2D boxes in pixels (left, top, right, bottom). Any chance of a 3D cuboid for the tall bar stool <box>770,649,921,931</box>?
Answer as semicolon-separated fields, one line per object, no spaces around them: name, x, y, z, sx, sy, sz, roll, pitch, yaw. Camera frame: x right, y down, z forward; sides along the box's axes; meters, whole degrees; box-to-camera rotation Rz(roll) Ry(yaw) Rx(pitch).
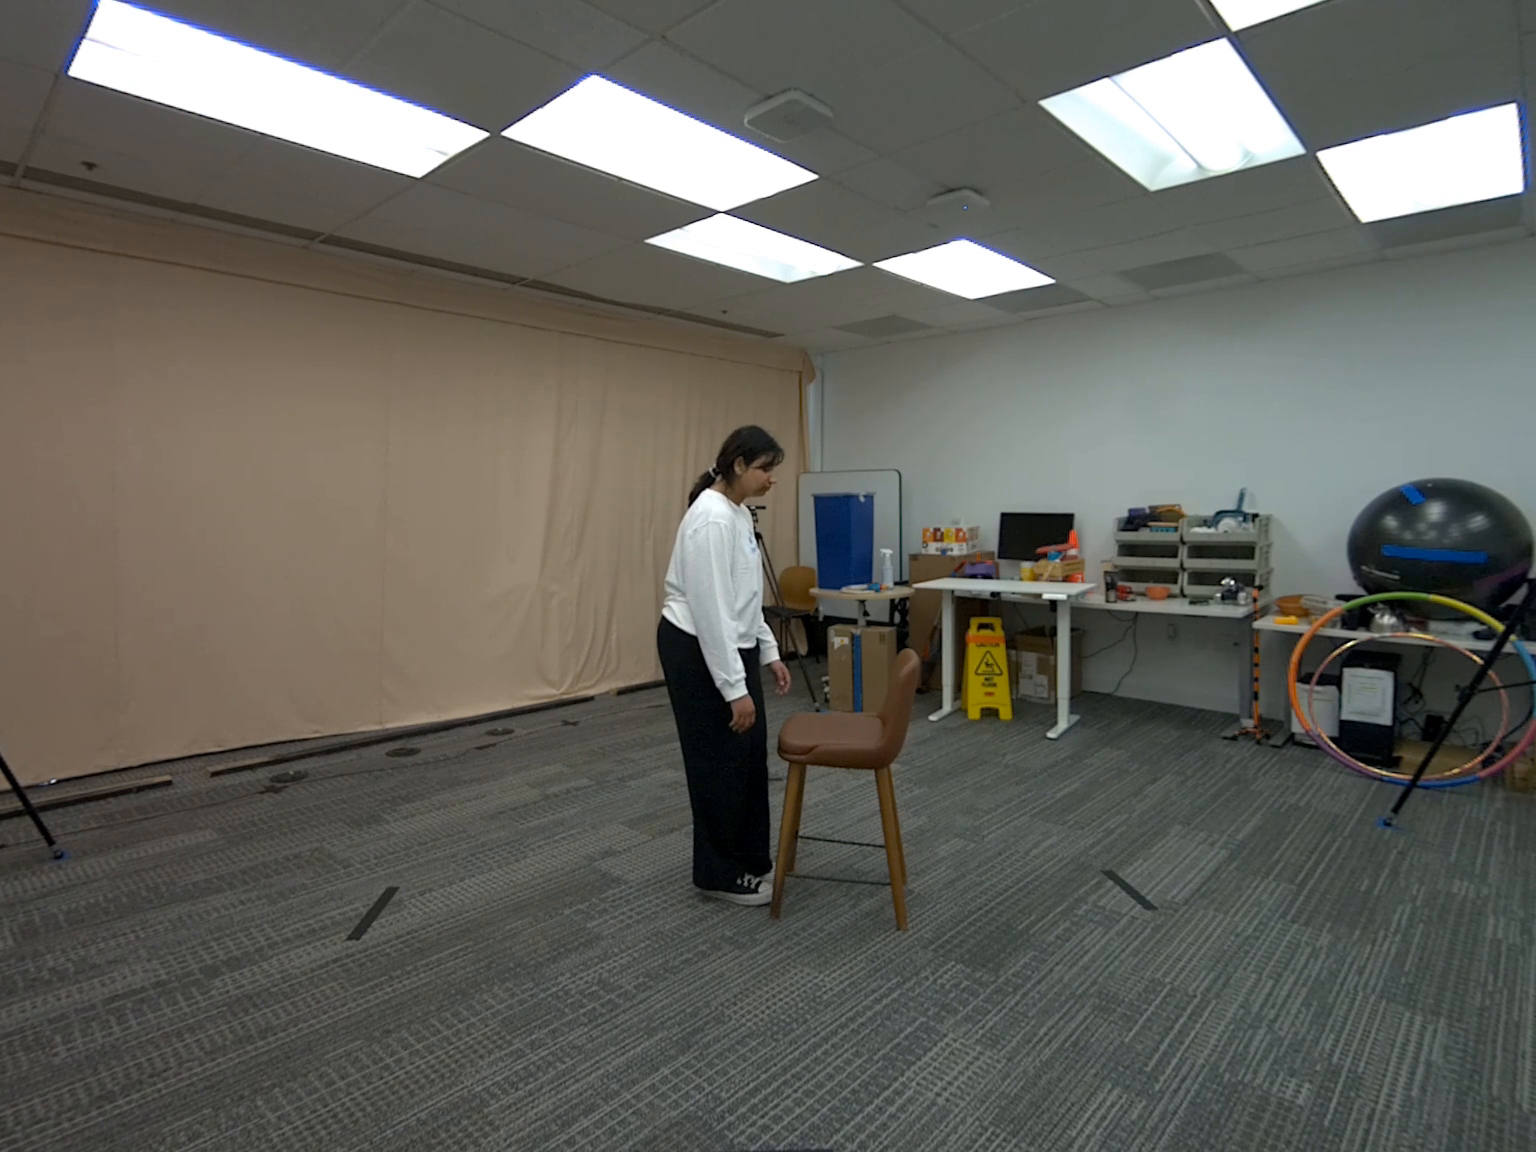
tall bar stool;0.276;0.711;2.956;0.474;0.888;0.451;2;4;12
